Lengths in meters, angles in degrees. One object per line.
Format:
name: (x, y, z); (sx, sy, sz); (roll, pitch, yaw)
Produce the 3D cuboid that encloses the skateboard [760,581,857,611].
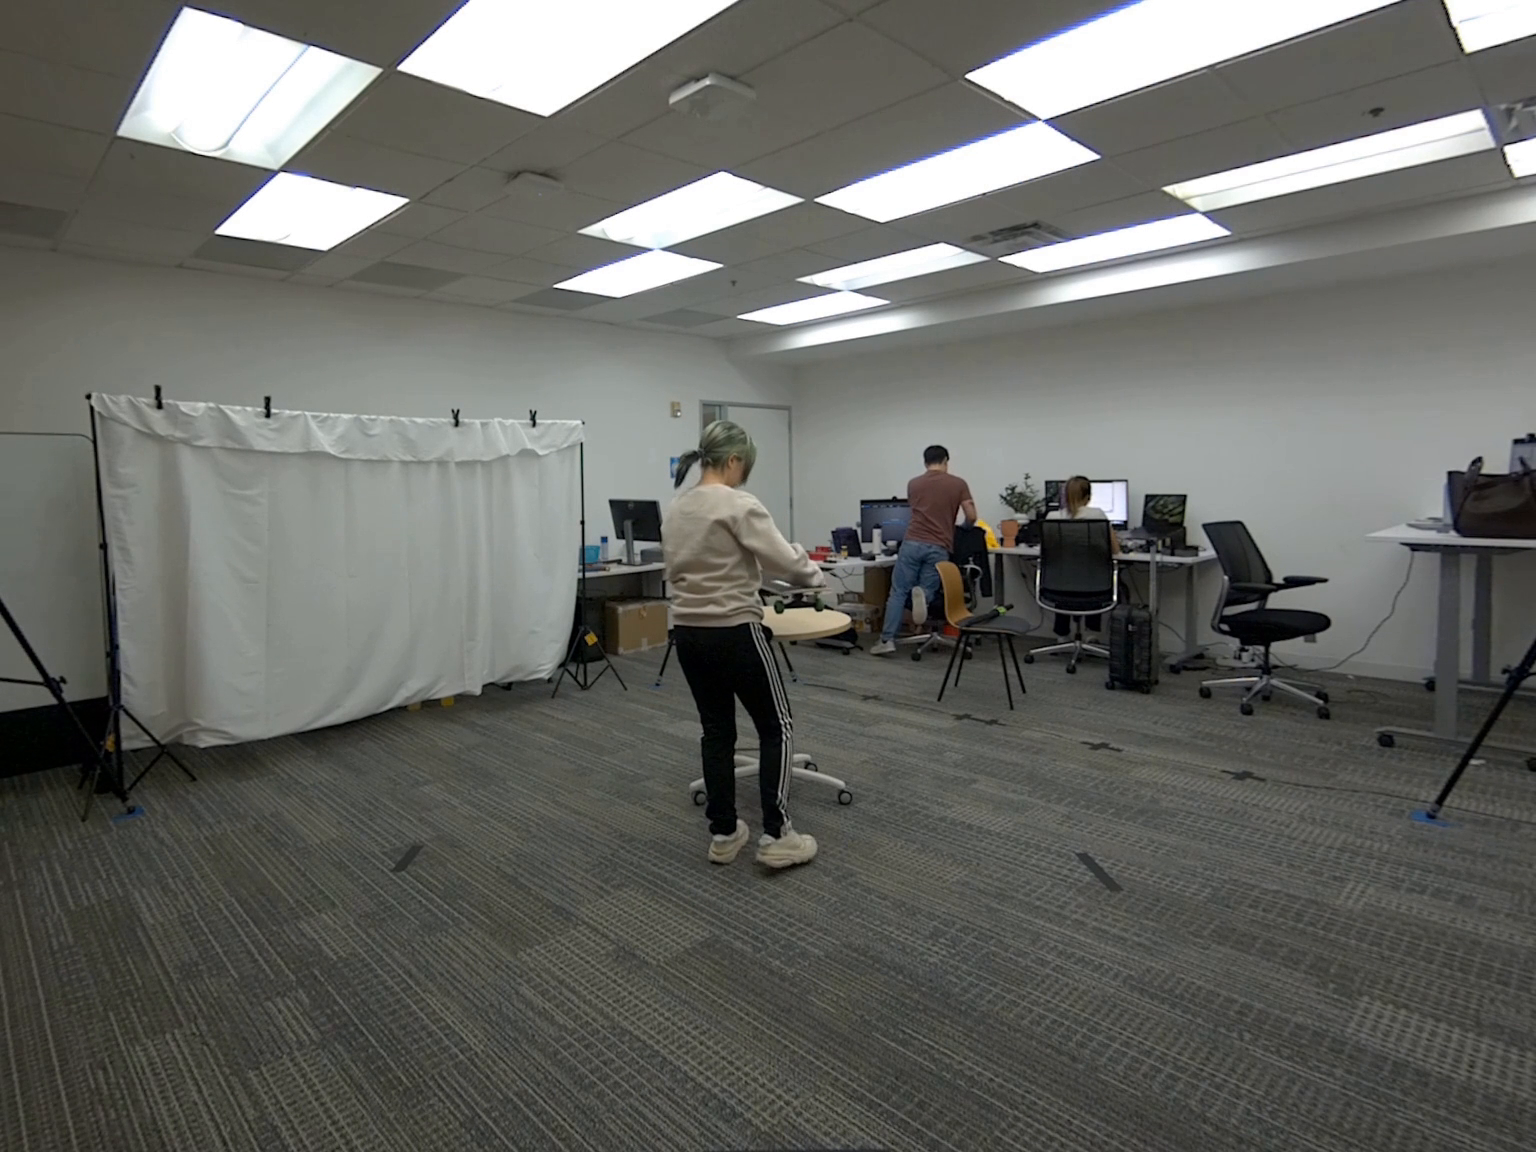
skateboard: (0.065, 0.070, 3.328); (0.190, 0.110, 0.801); (-3, 5, -19)
